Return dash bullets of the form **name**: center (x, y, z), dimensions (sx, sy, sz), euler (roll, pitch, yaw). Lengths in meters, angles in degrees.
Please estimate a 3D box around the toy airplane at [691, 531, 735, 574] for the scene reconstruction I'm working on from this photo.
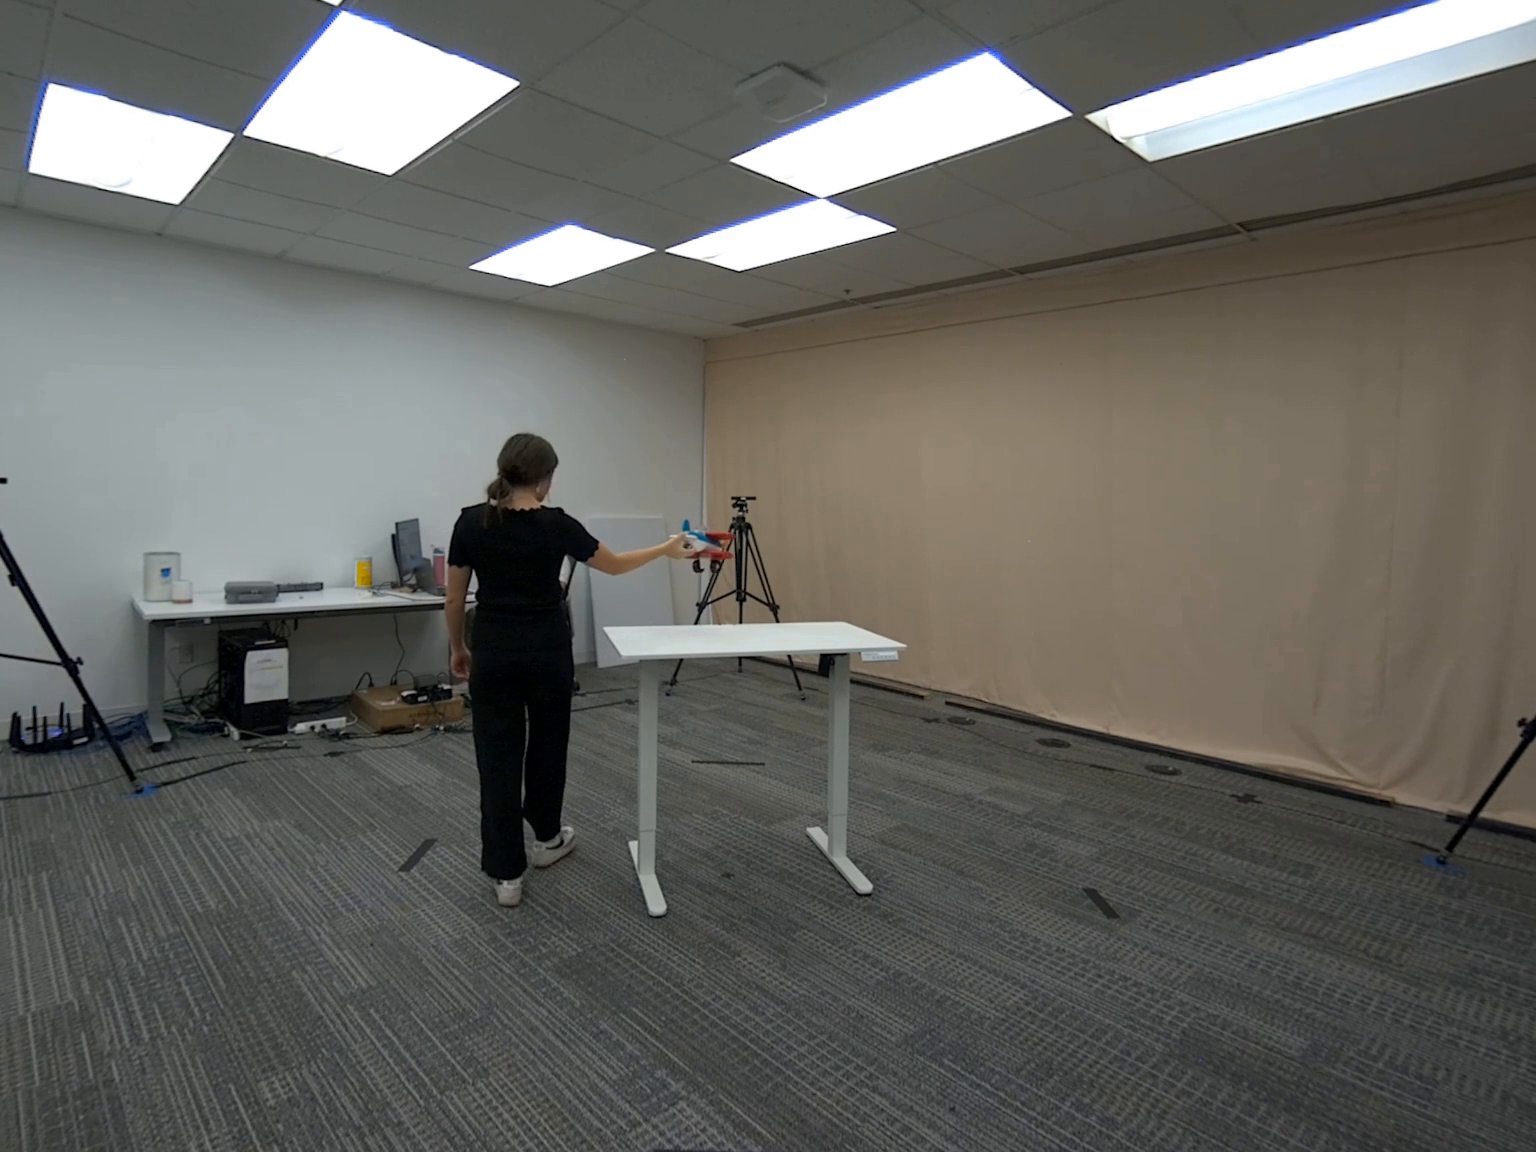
- **toy airplane**: center (-0.268, -0.123, 3.331), dimensions (0.253, 0.158, 0.255), euler (12, -23, 6)
